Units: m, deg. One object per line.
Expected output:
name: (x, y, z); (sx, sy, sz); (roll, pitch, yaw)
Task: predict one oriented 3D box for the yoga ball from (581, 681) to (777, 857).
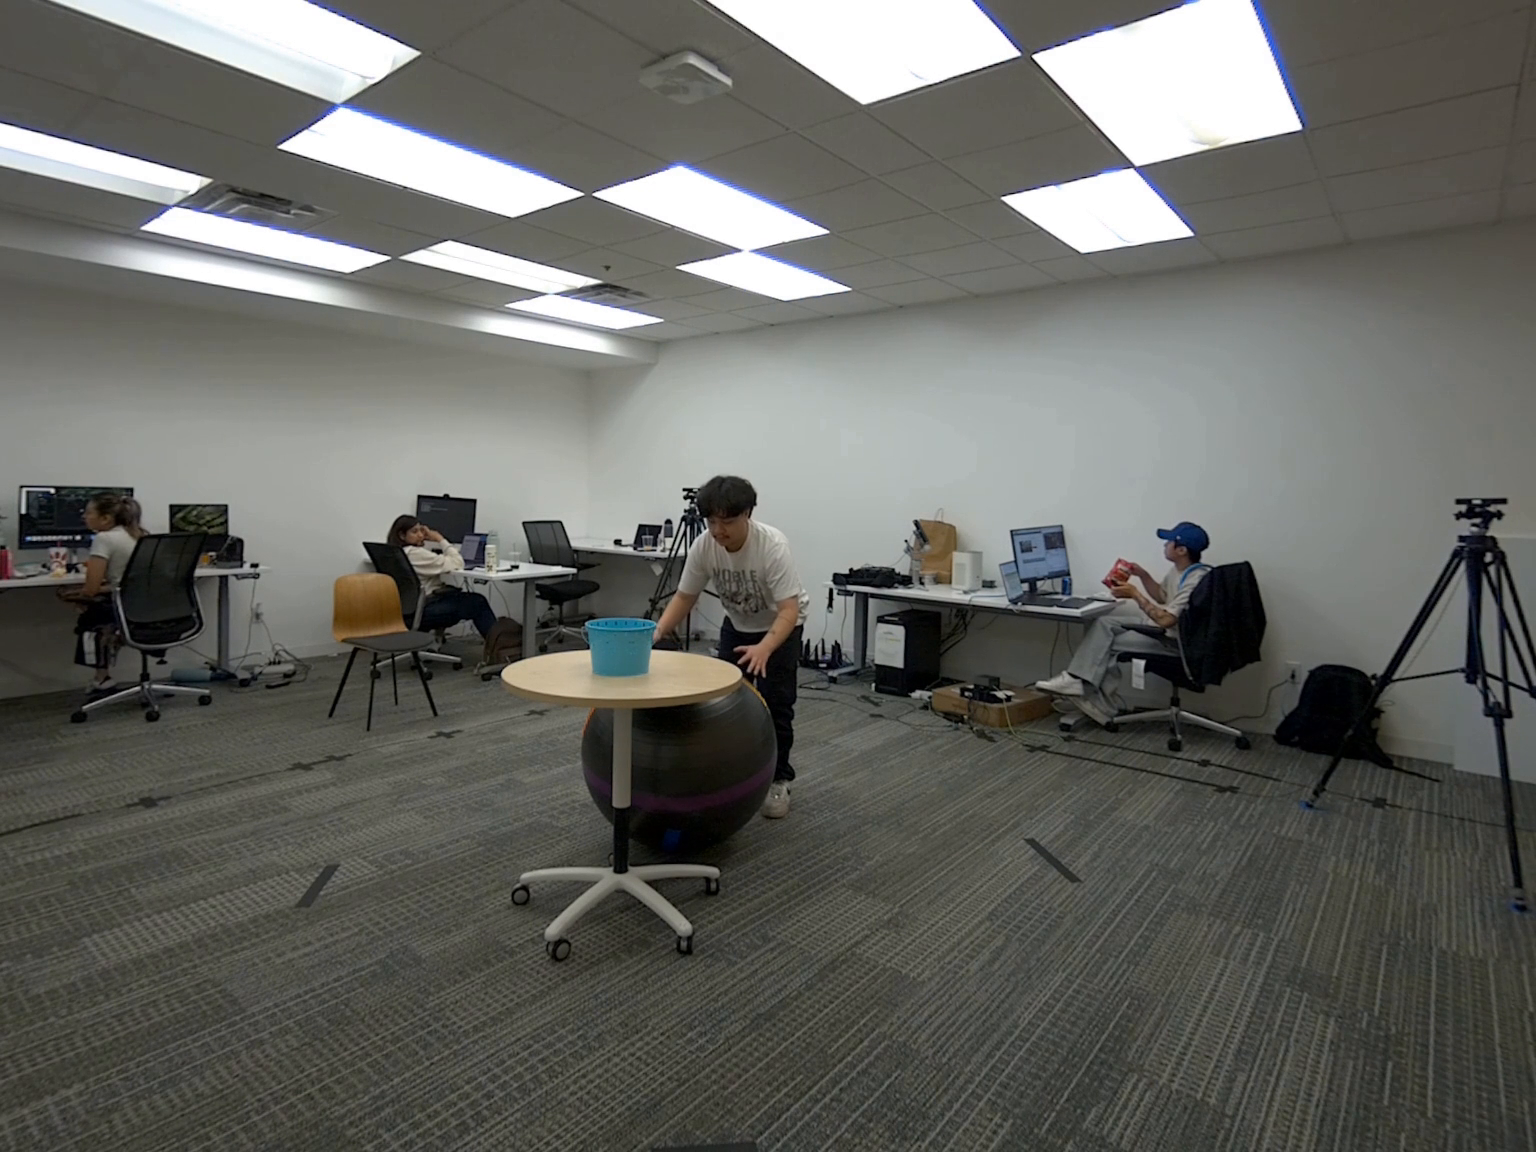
yoga ball: (-0.355, 0.678, 3.328); (0.757, 0.755, 0.762); (1, 4, -2)
